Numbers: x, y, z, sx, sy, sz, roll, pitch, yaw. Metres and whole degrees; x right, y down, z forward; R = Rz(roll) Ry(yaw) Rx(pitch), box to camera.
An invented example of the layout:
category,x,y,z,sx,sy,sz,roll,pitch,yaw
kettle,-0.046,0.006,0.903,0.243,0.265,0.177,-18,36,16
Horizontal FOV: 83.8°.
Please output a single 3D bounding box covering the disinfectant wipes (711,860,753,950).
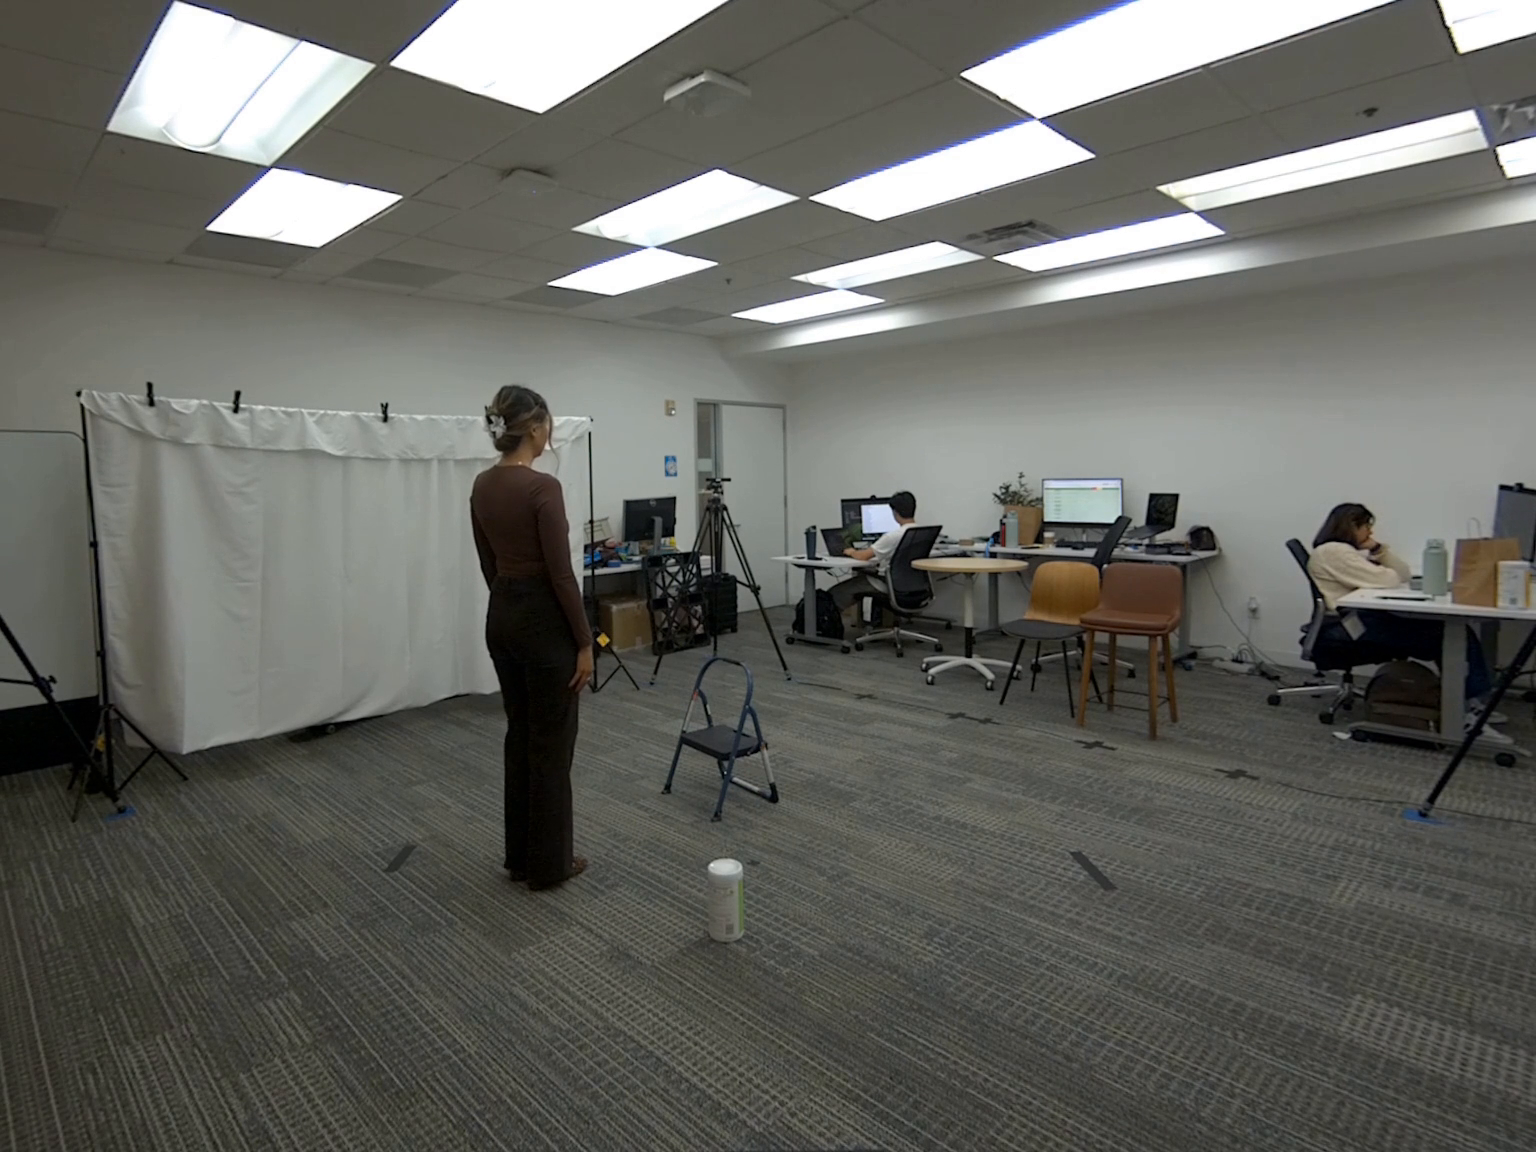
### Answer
category,x,y,z,sx,sy,sz,roll,pitch,yaw
disinfectant wipes,-0.112,0.998,2.612,0.118,0.217,0.118,-1,2,-2
